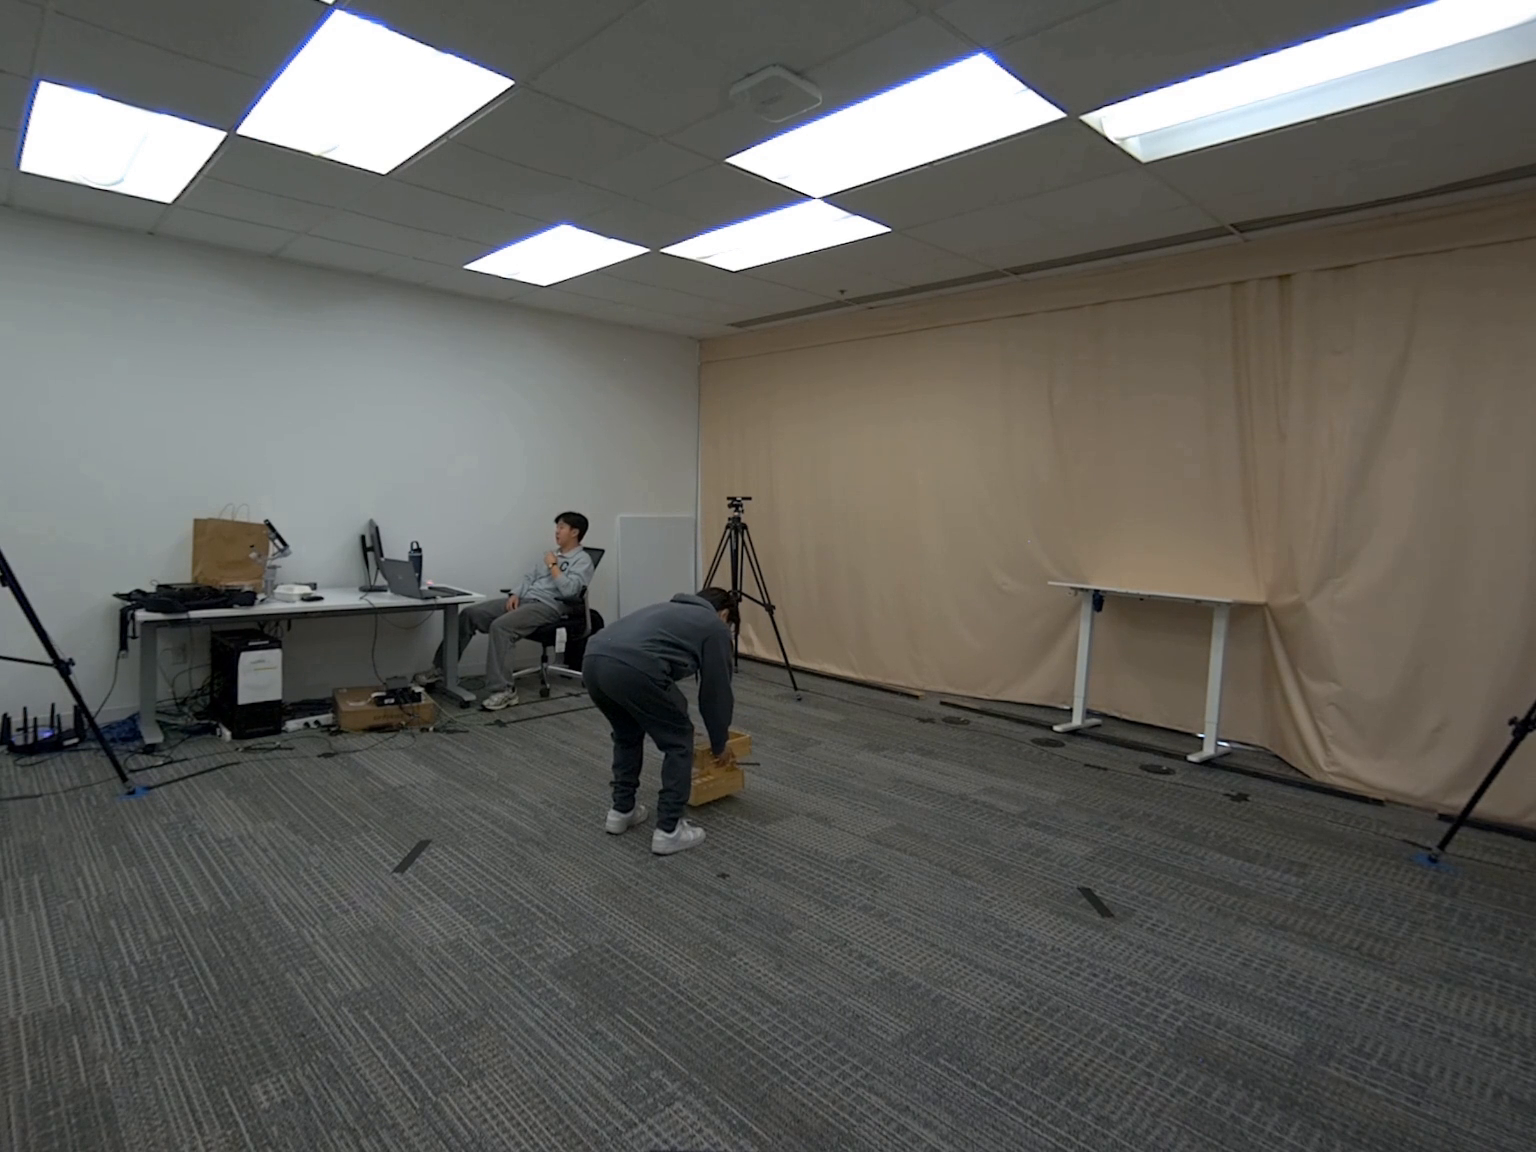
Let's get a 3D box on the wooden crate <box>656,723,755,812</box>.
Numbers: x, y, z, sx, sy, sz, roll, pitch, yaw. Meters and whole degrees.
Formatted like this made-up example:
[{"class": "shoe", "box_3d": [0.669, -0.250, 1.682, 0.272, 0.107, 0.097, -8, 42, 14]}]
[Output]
[{"class": "wooden crate", "box_3d": [-0.286, 0.857, 3.856, 0.309, 0.272, 0.317, 3, 5, 45]}]
